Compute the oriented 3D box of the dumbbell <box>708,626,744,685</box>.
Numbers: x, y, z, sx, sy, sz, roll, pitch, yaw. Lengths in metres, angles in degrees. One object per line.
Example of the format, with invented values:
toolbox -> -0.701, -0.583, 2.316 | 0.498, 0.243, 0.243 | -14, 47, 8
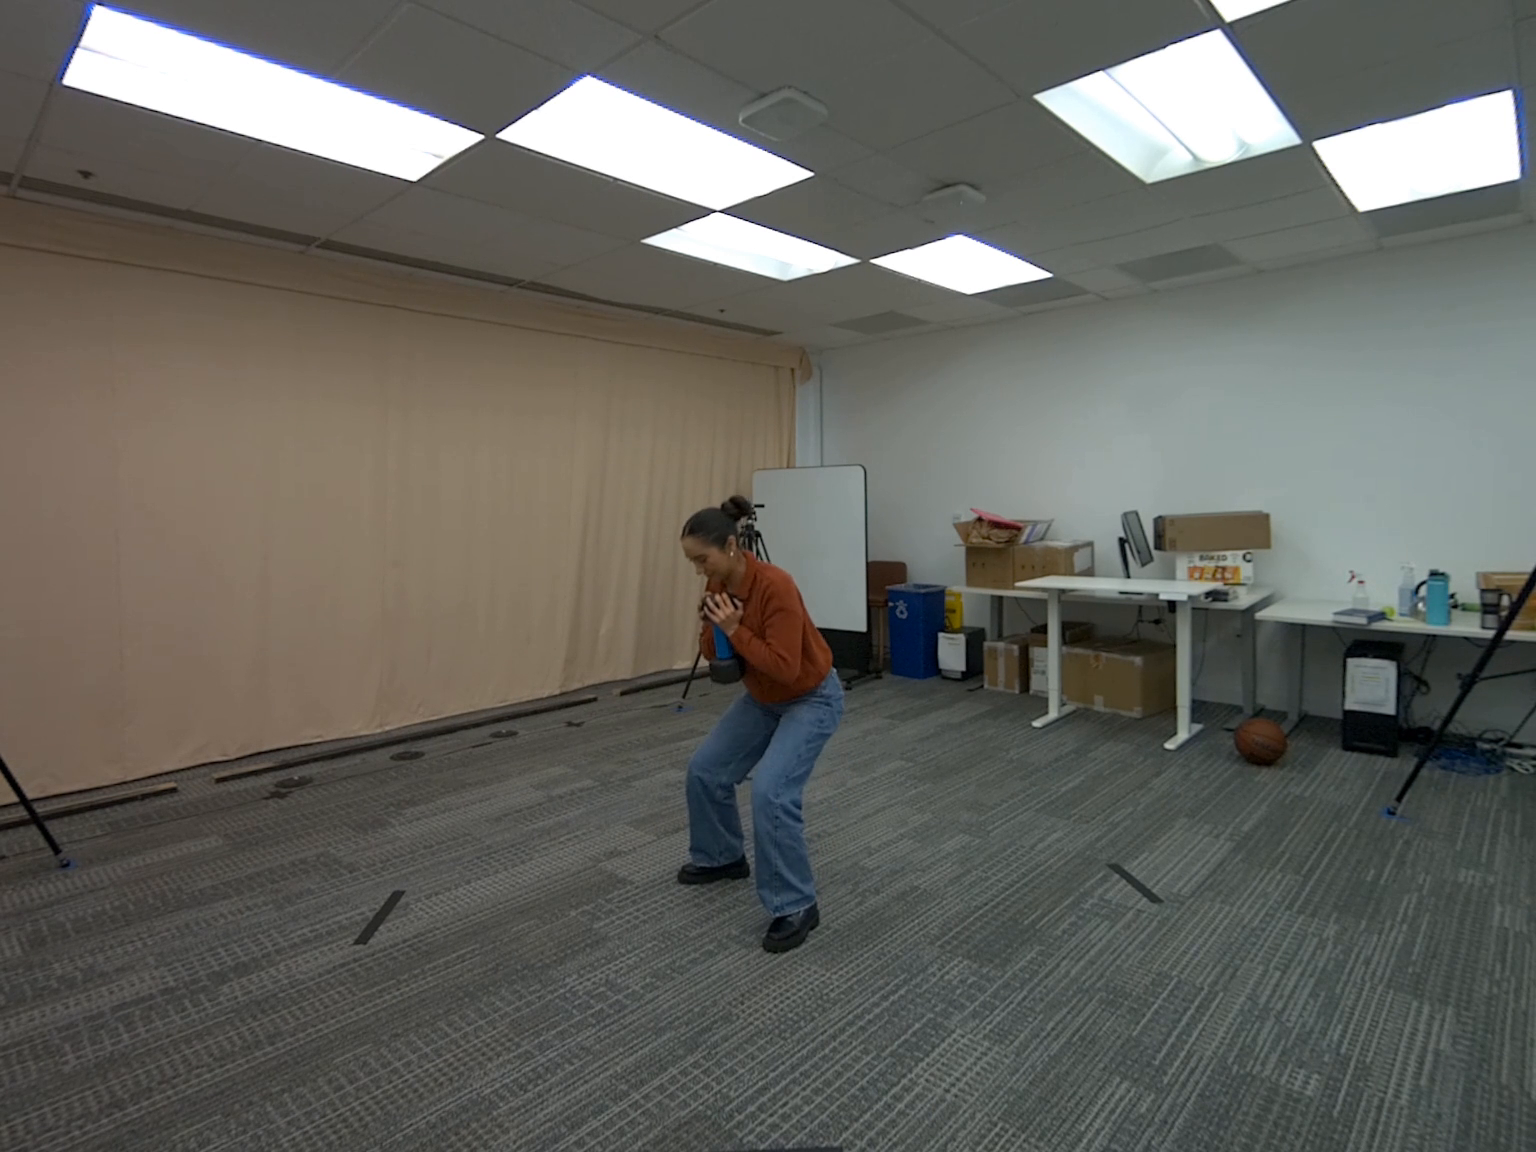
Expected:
dumbbell -> -0.142, 0.215, 2.834 | 0.105, 0.293, 0.127 | -7, 3, -38
